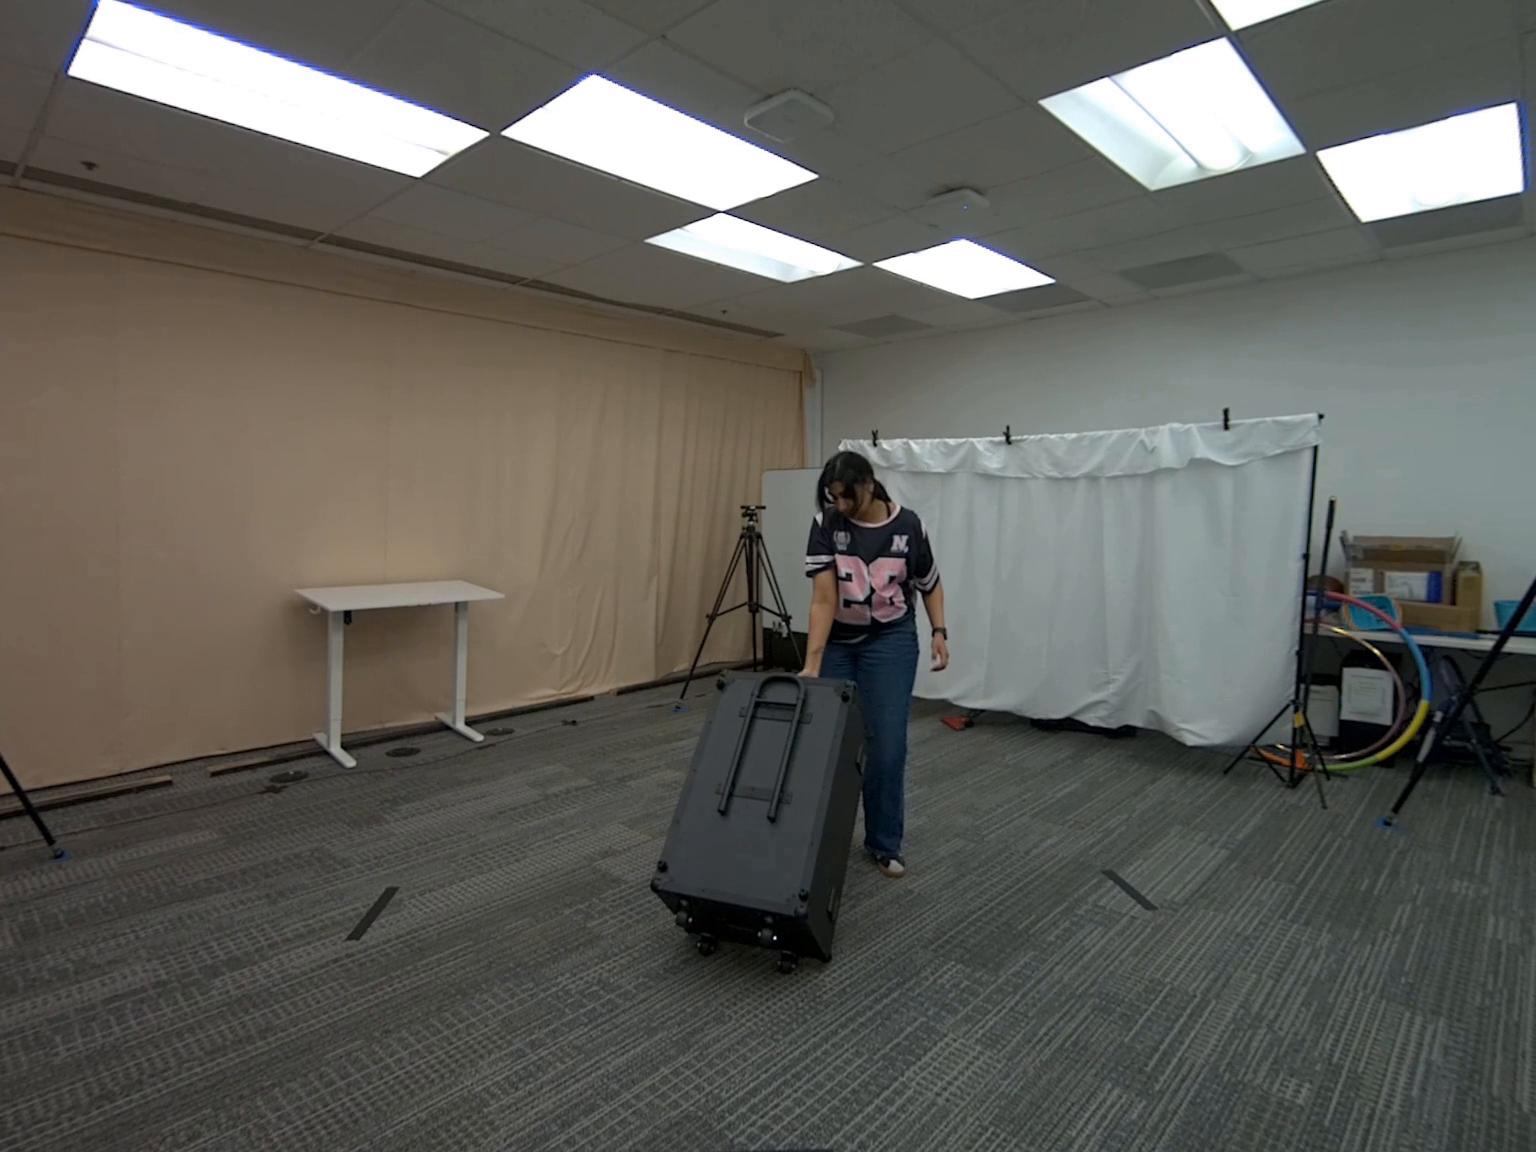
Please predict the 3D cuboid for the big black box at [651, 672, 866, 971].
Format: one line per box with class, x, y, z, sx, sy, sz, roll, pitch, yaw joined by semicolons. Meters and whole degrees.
big black box;0.008;0.766;2.730;0.533;0.867;0.384;1;-40;22
